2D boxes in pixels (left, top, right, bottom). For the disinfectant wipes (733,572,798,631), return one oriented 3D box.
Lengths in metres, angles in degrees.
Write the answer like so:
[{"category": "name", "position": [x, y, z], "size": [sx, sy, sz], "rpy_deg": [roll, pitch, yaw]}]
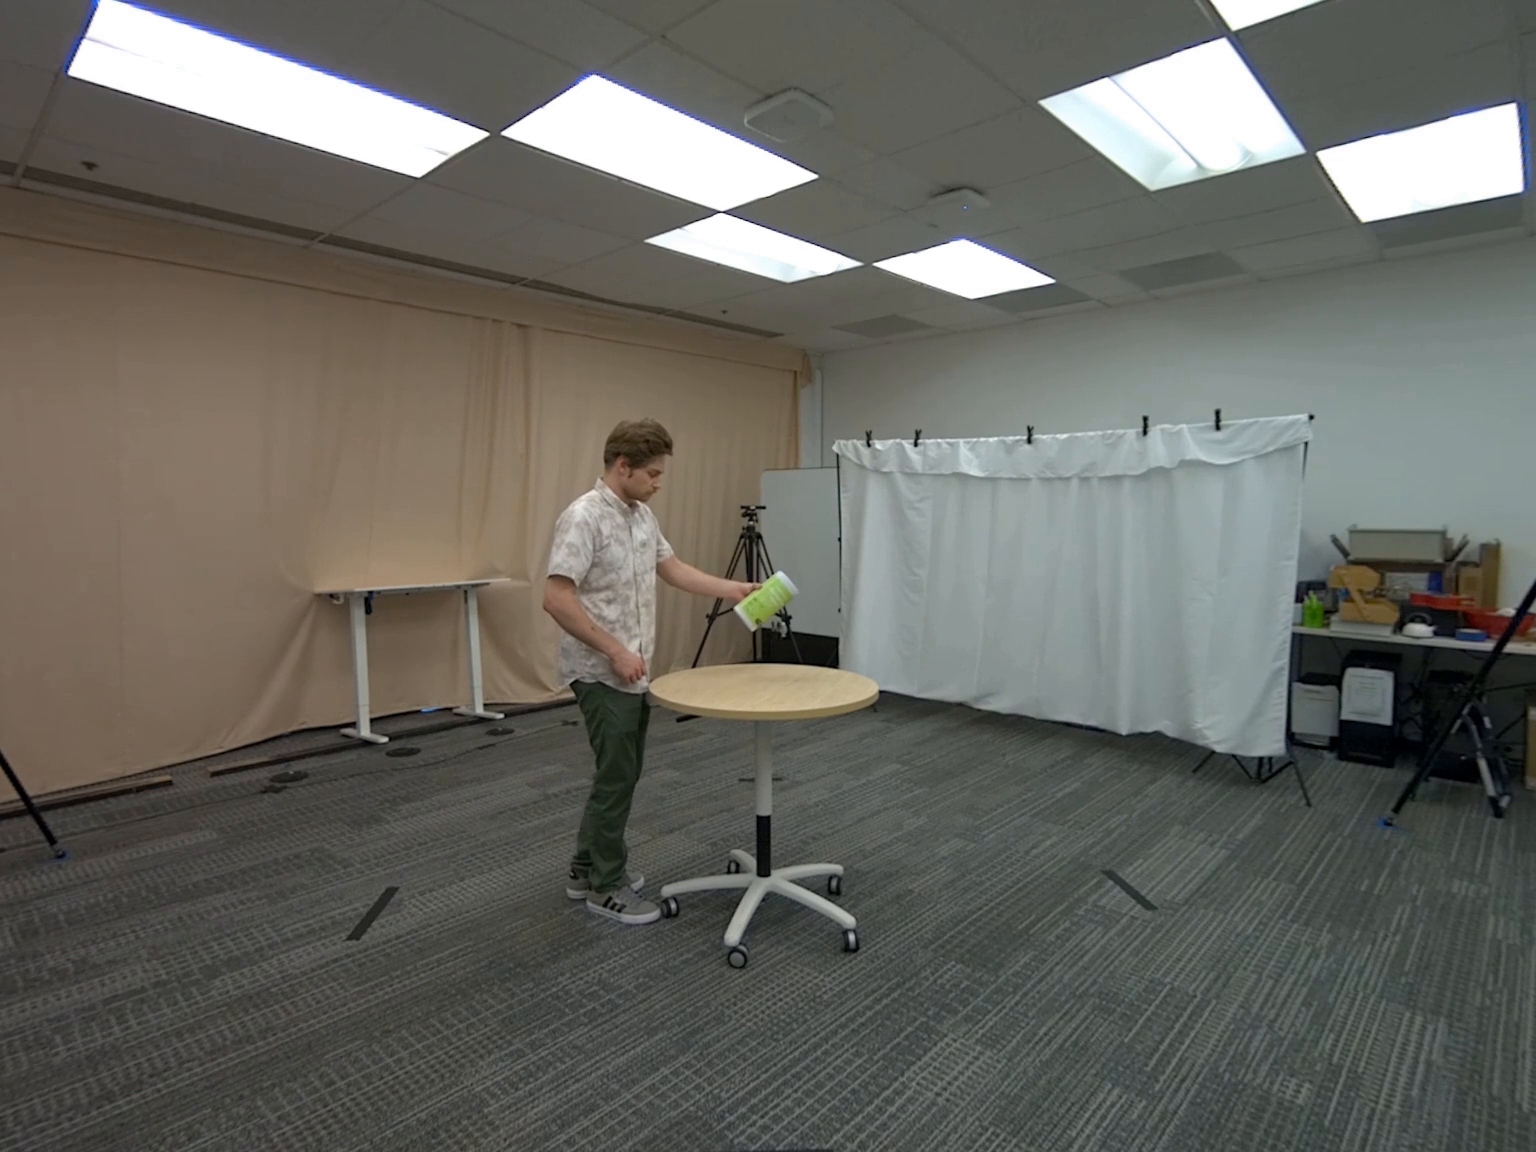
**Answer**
[{"category": "disinfectant wipes", "position": [-0.009, 0.090, 2.954], "size": [0.217, 0.117, 0.118], "rpy_deg": [-38, 5, 0]}]
